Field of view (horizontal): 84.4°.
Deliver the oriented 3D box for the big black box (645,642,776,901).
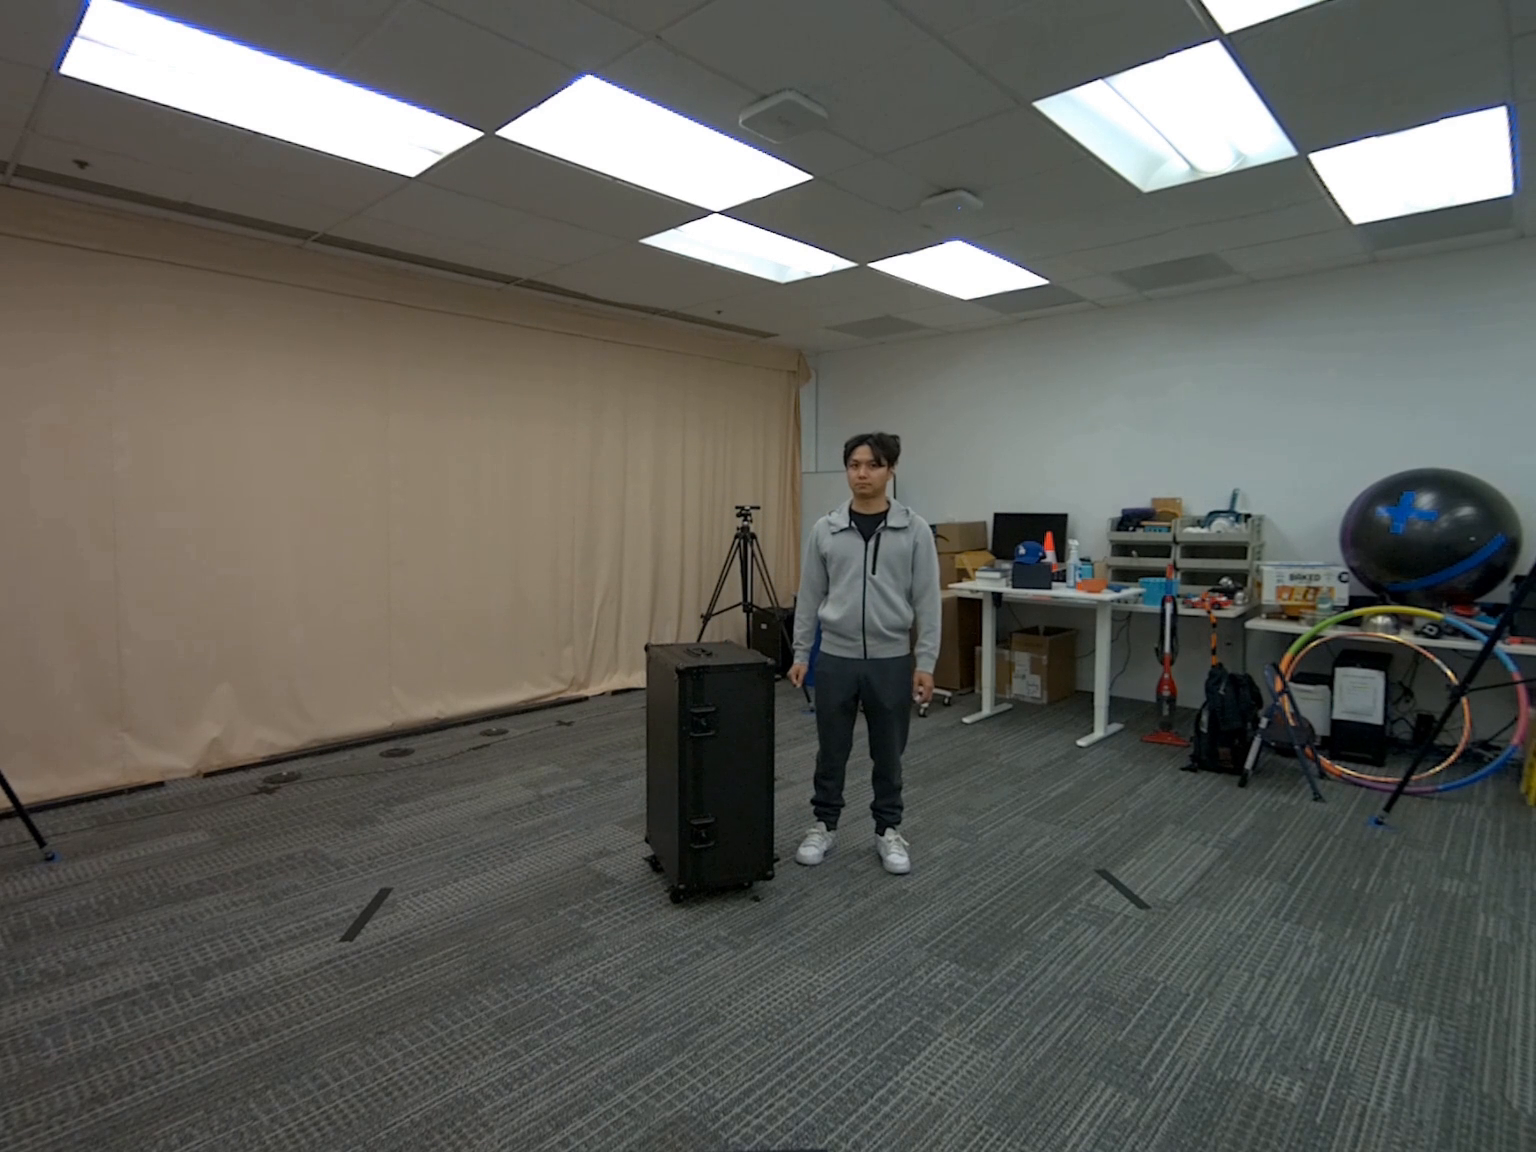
[{"bbox_3d":[-0.222,0.705,3.141,0.388,0.860,0.533,0,2,-21],"label":"big black box"}]
